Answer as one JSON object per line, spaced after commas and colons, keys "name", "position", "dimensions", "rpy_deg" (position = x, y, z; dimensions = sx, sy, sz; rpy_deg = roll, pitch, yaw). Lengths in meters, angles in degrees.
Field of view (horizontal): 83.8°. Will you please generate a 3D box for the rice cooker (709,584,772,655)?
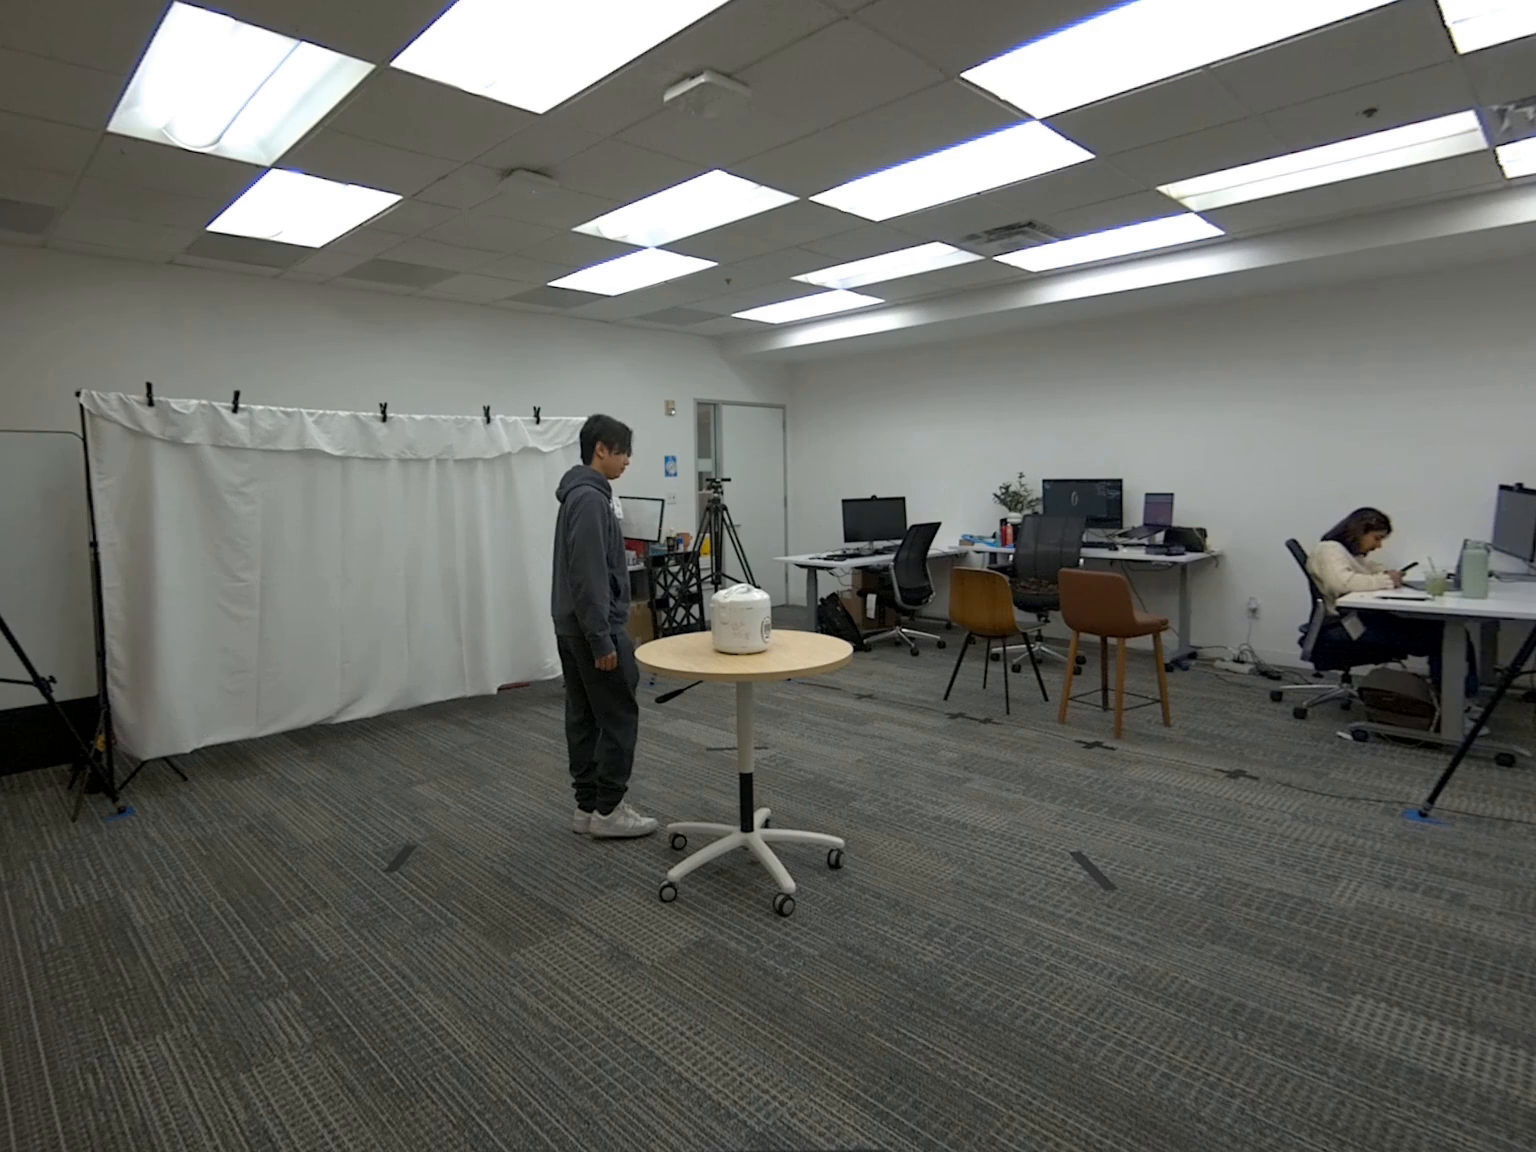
{"name": "rice cooker", "position": [-0.091, 0.140, 2.984], "dimensions": [0.223, 0.232, 0.215], "rpy_deg": [-1, 5, 34]}
